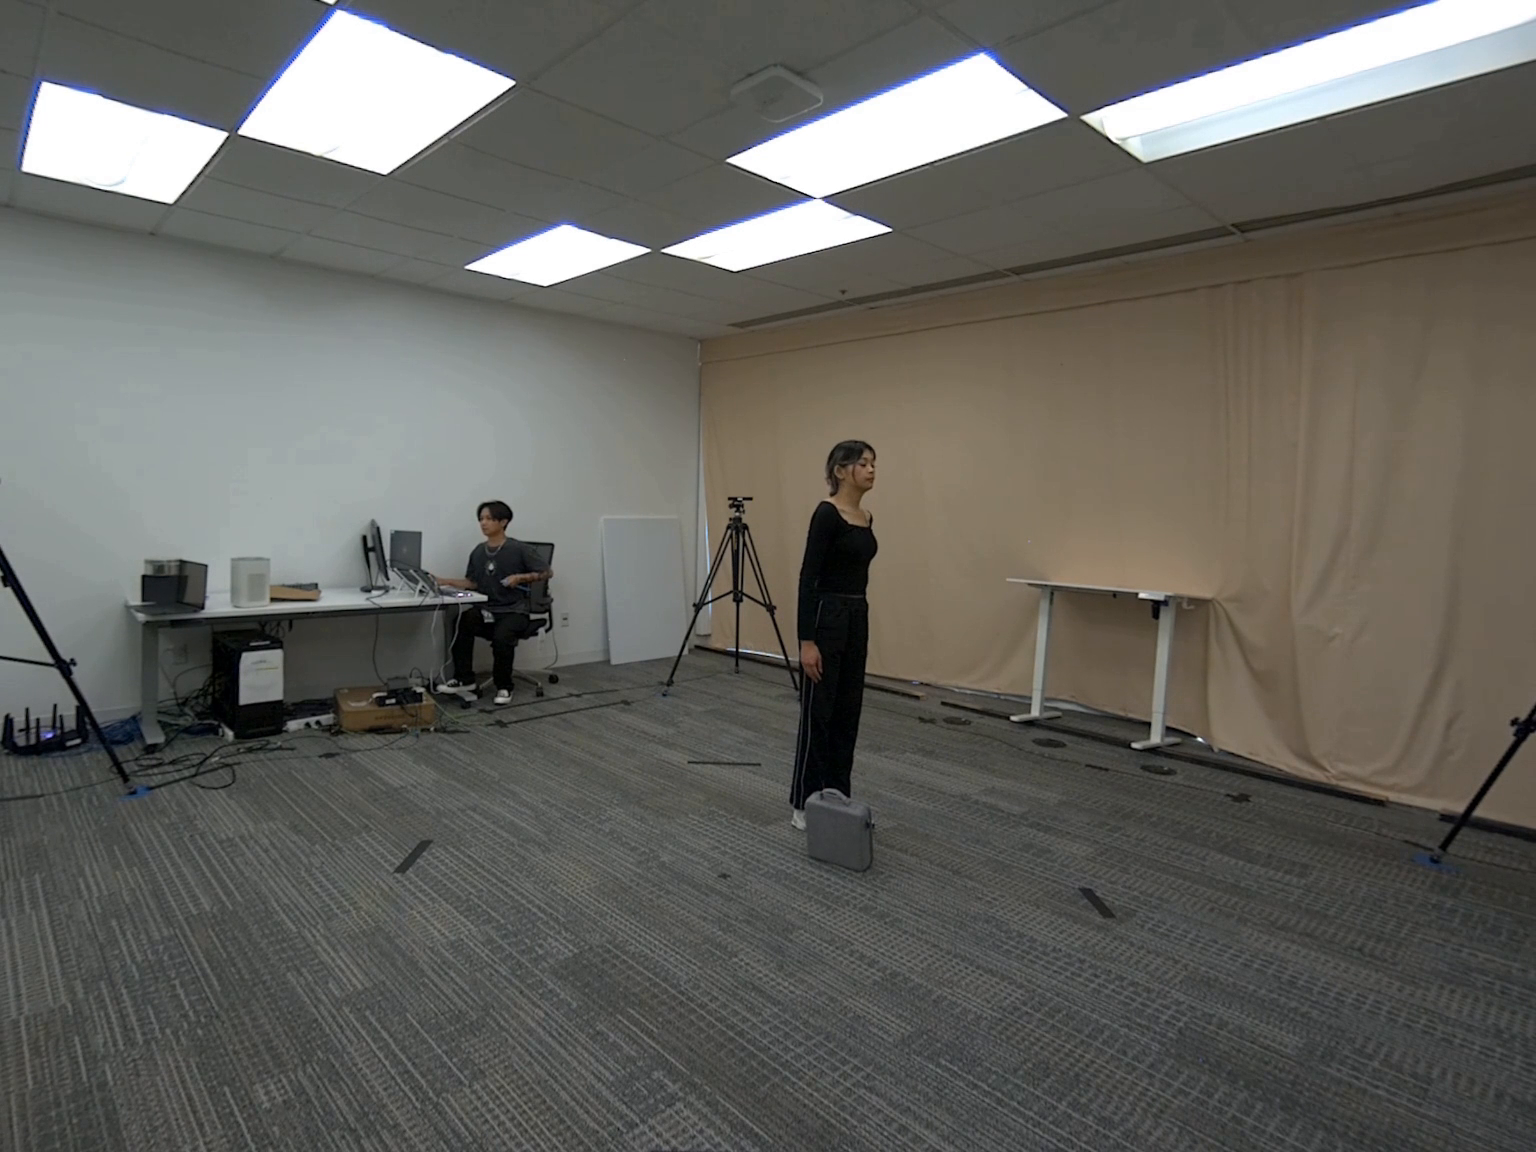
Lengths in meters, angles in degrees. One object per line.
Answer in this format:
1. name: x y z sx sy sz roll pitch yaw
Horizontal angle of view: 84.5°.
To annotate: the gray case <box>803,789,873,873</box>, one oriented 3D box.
1. gray case: 0.262 0.975 3.231 0.263 0.258 0.103 3 14 34
